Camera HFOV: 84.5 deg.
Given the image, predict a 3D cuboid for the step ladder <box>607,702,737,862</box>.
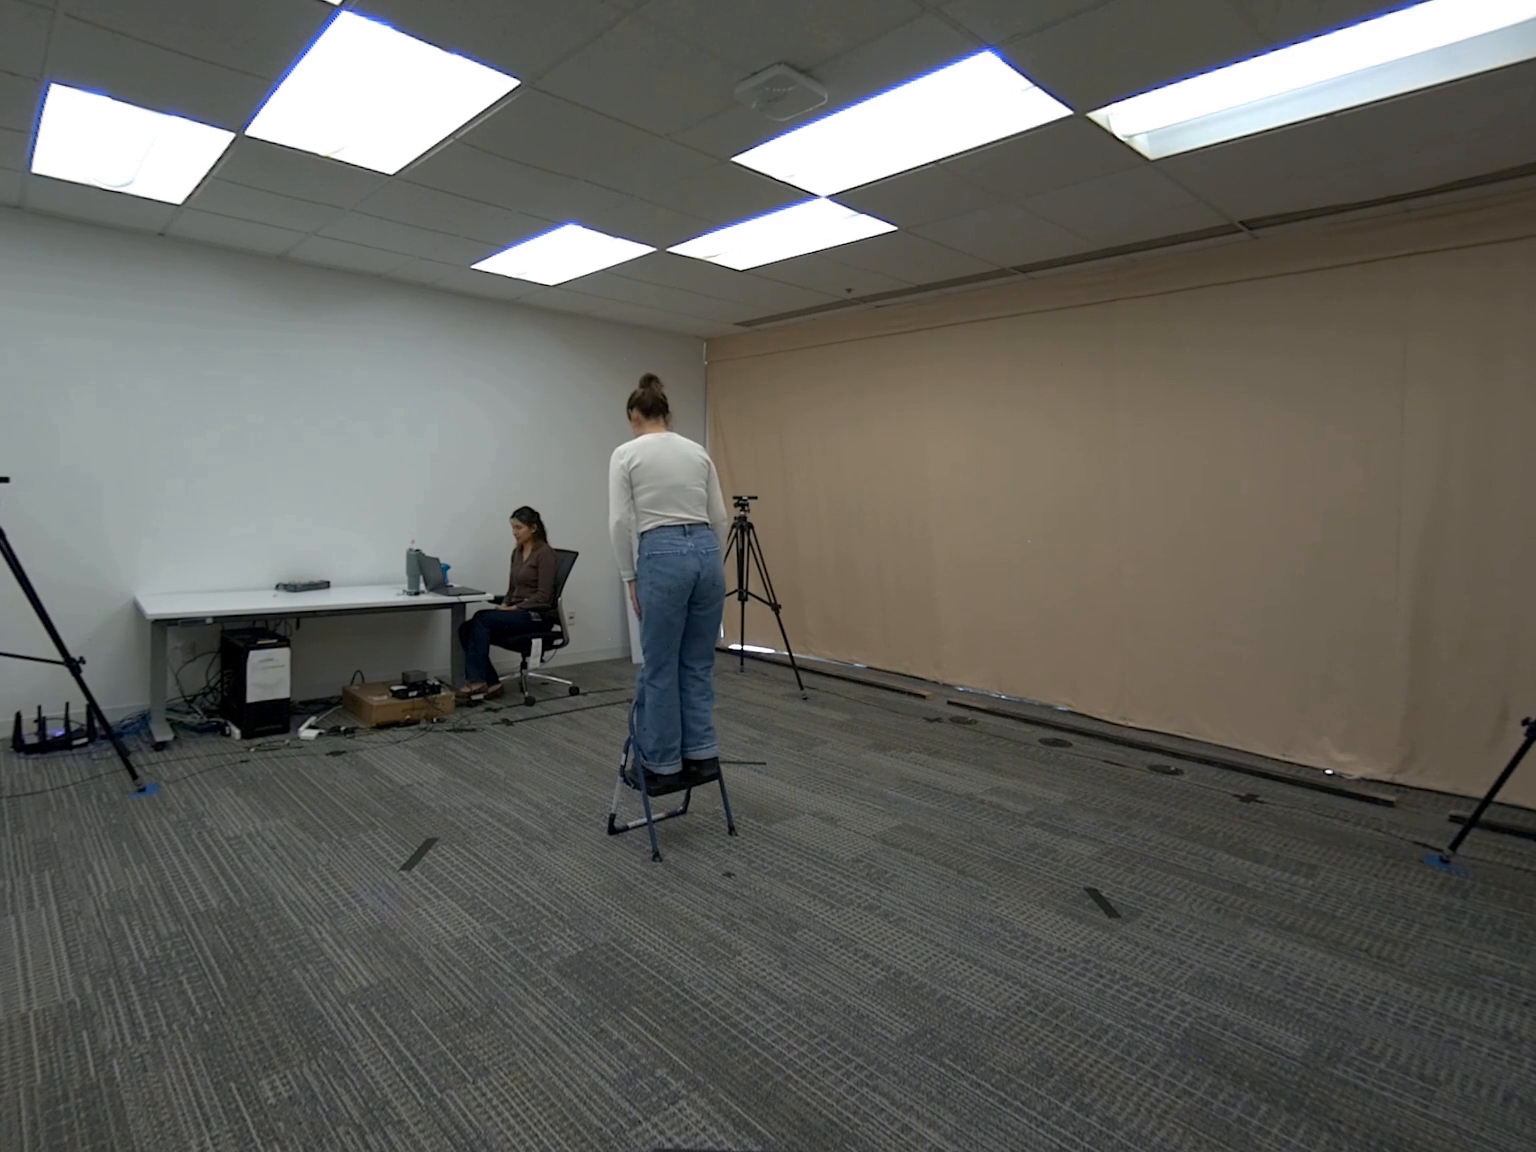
[{"bbox_3d":[-0.392,0.765,3.450,0.421,0.604,0.358,-2,5,-45],"label":"step ladder"}]
